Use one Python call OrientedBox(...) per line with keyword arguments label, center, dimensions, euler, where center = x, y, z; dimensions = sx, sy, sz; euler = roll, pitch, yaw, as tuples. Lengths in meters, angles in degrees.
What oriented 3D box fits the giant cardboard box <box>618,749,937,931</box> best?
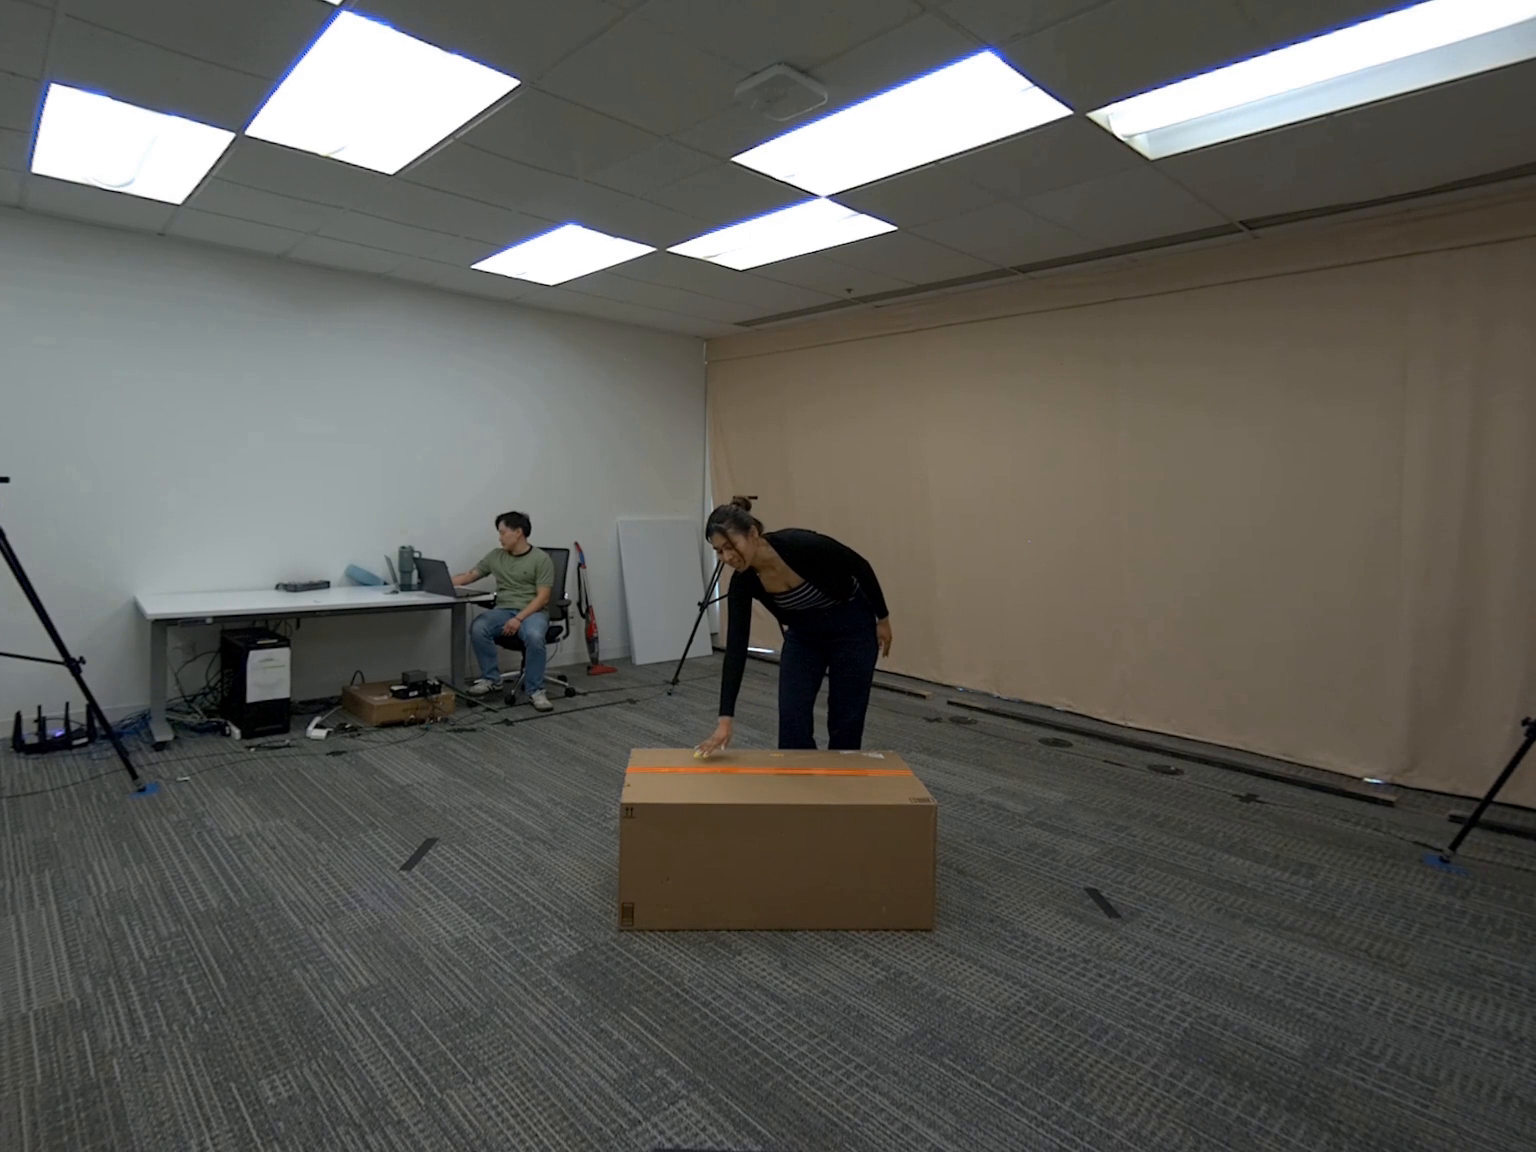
OrientedBox(label="giant cardboard box", center=(0.001, 0.900, 2.972), dimensions=(1.023, 0.425, 0.580), euler=(1, 4, -4))
